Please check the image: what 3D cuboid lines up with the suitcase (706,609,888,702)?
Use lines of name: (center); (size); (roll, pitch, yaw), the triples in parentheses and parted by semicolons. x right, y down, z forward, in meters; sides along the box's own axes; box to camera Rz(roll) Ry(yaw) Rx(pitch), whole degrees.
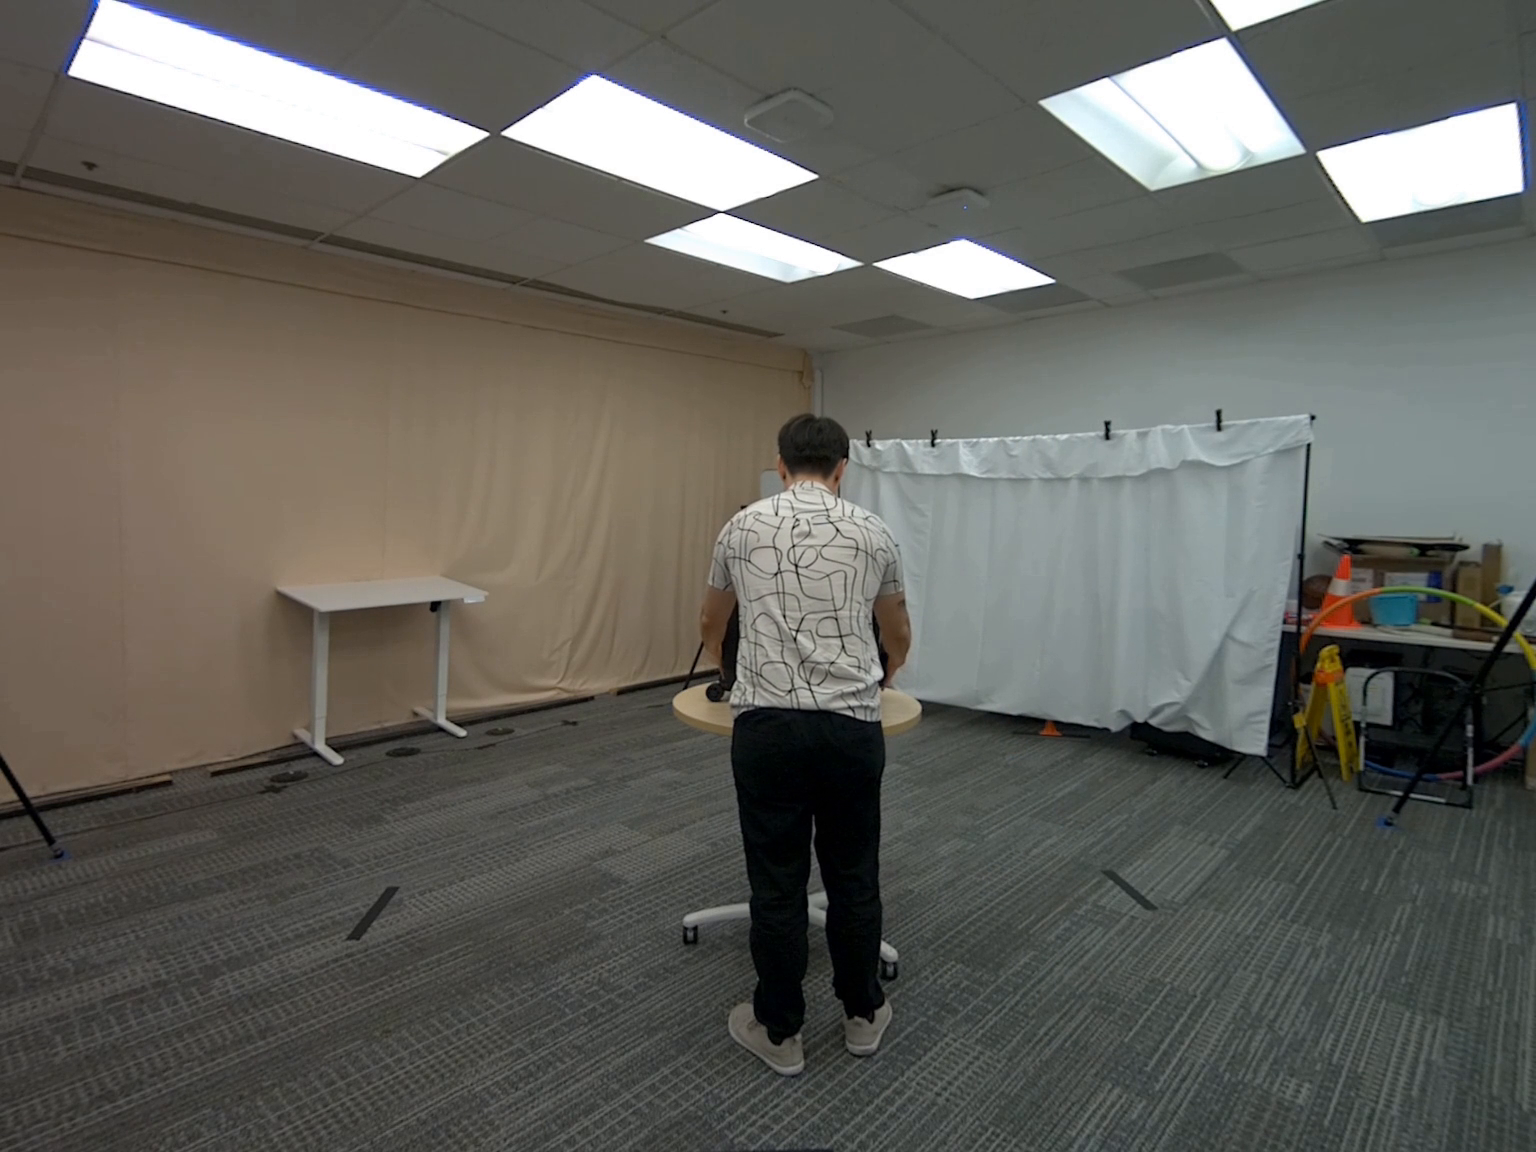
suitcase: (0.108, 0.194, 2.669); (0.556, 0.375, 0.246); (0, 3, 11)
